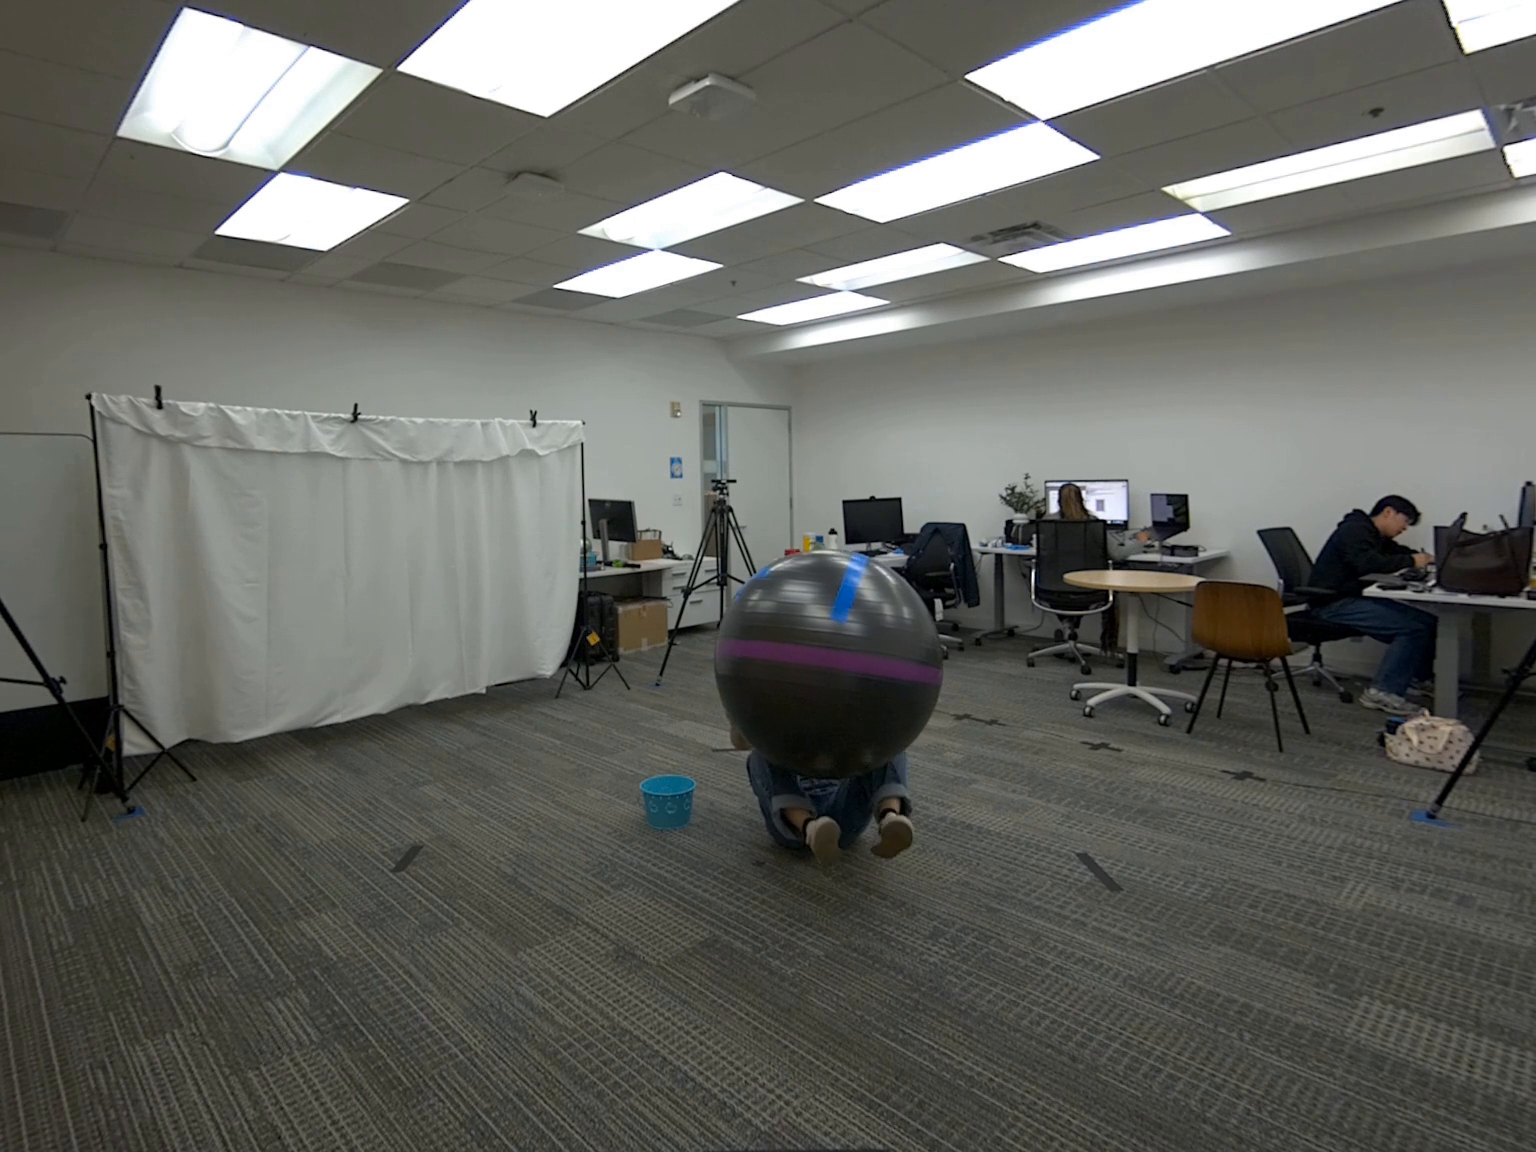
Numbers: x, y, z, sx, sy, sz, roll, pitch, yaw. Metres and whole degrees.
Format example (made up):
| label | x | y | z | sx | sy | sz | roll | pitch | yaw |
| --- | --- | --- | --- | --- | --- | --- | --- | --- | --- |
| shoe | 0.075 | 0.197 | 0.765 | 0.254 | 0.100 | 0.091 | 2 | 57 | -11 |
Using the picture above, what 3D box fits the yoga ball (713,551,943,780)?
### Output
| label | x | y | z | sx | sy | sz | roll | pitch | yaw |
| --- | --- | --- | --- | --- | --- | --- | --- | --- | --- |
| yoga ball | 0.202 | 0.290 | 2.891 | 0.757 | 0.755 | 0.762 | -1 | 5 | -2 |
